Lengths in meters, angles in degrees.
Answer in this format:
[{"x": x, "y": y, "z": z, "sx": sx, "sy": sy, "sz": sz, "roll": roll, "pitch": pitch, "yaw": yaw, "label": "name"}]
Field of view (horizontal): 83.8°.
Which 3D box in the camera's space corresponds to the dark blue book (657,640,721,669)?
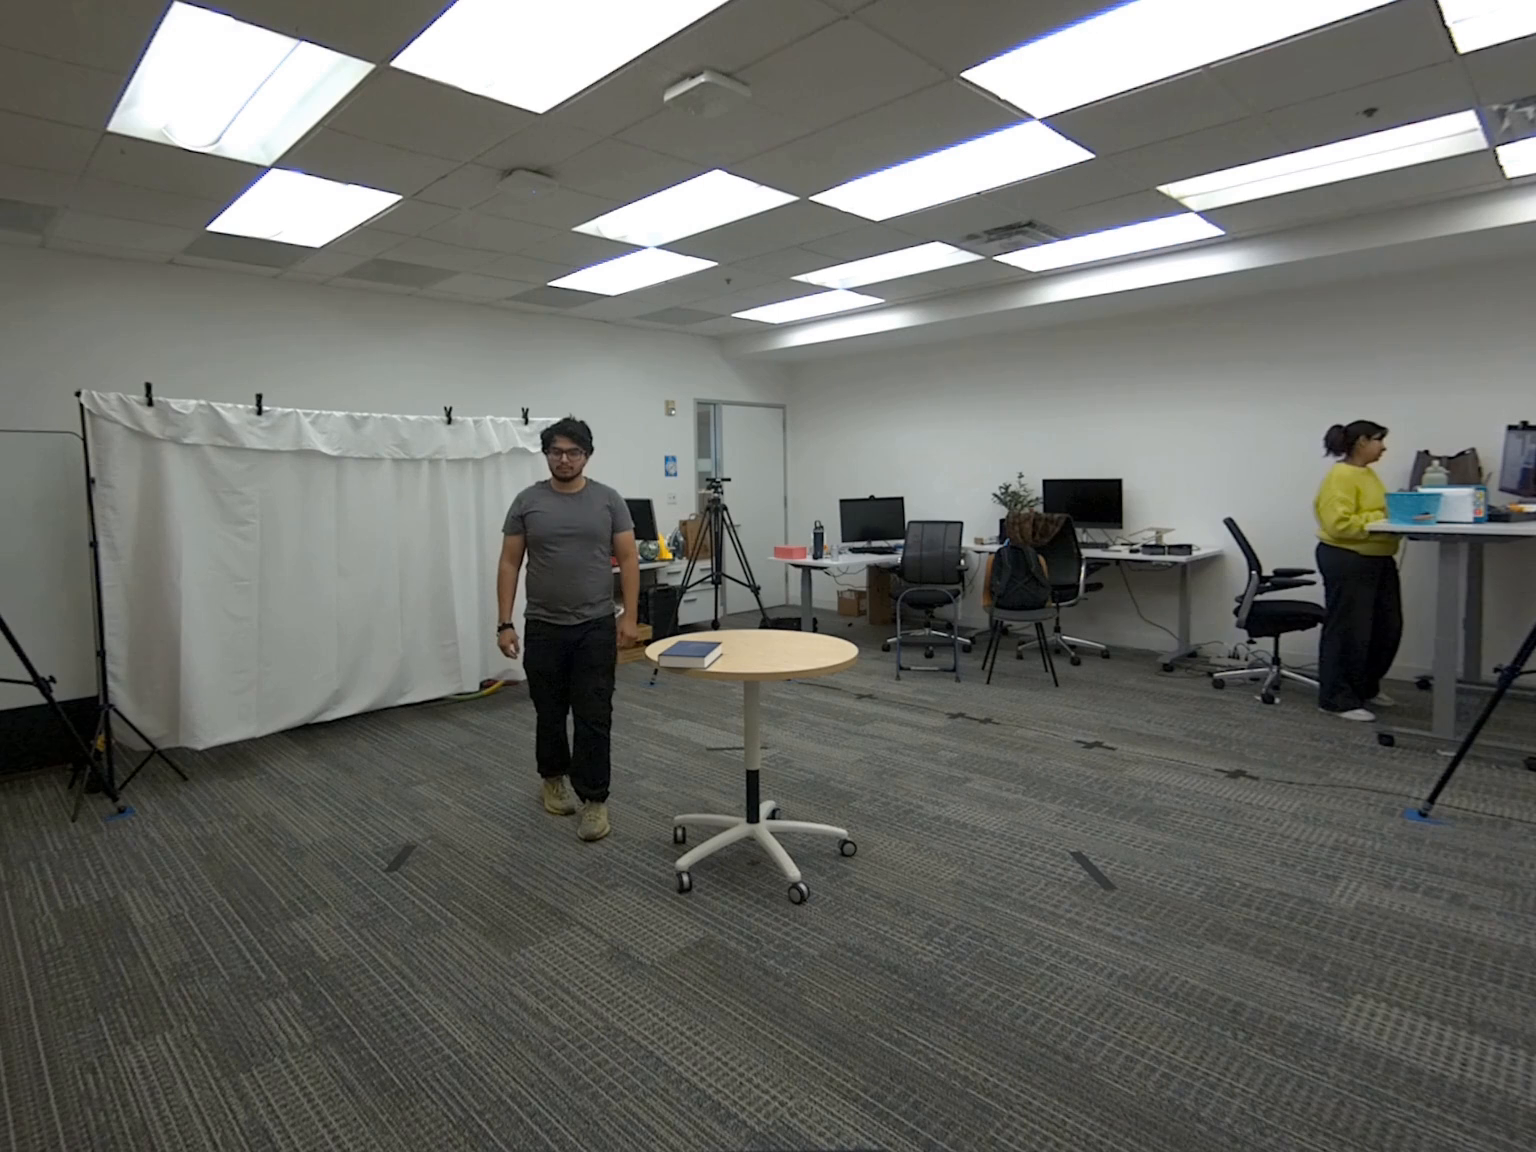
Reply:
[{"x": -0.258, "y": 0.264, "z": 2.898, "sx": 0.165, "sy": 0.045, "sz": 0.243, "roll": 1, "pitch": 6, "yaw": 10, "label": "dark blue book"}]
